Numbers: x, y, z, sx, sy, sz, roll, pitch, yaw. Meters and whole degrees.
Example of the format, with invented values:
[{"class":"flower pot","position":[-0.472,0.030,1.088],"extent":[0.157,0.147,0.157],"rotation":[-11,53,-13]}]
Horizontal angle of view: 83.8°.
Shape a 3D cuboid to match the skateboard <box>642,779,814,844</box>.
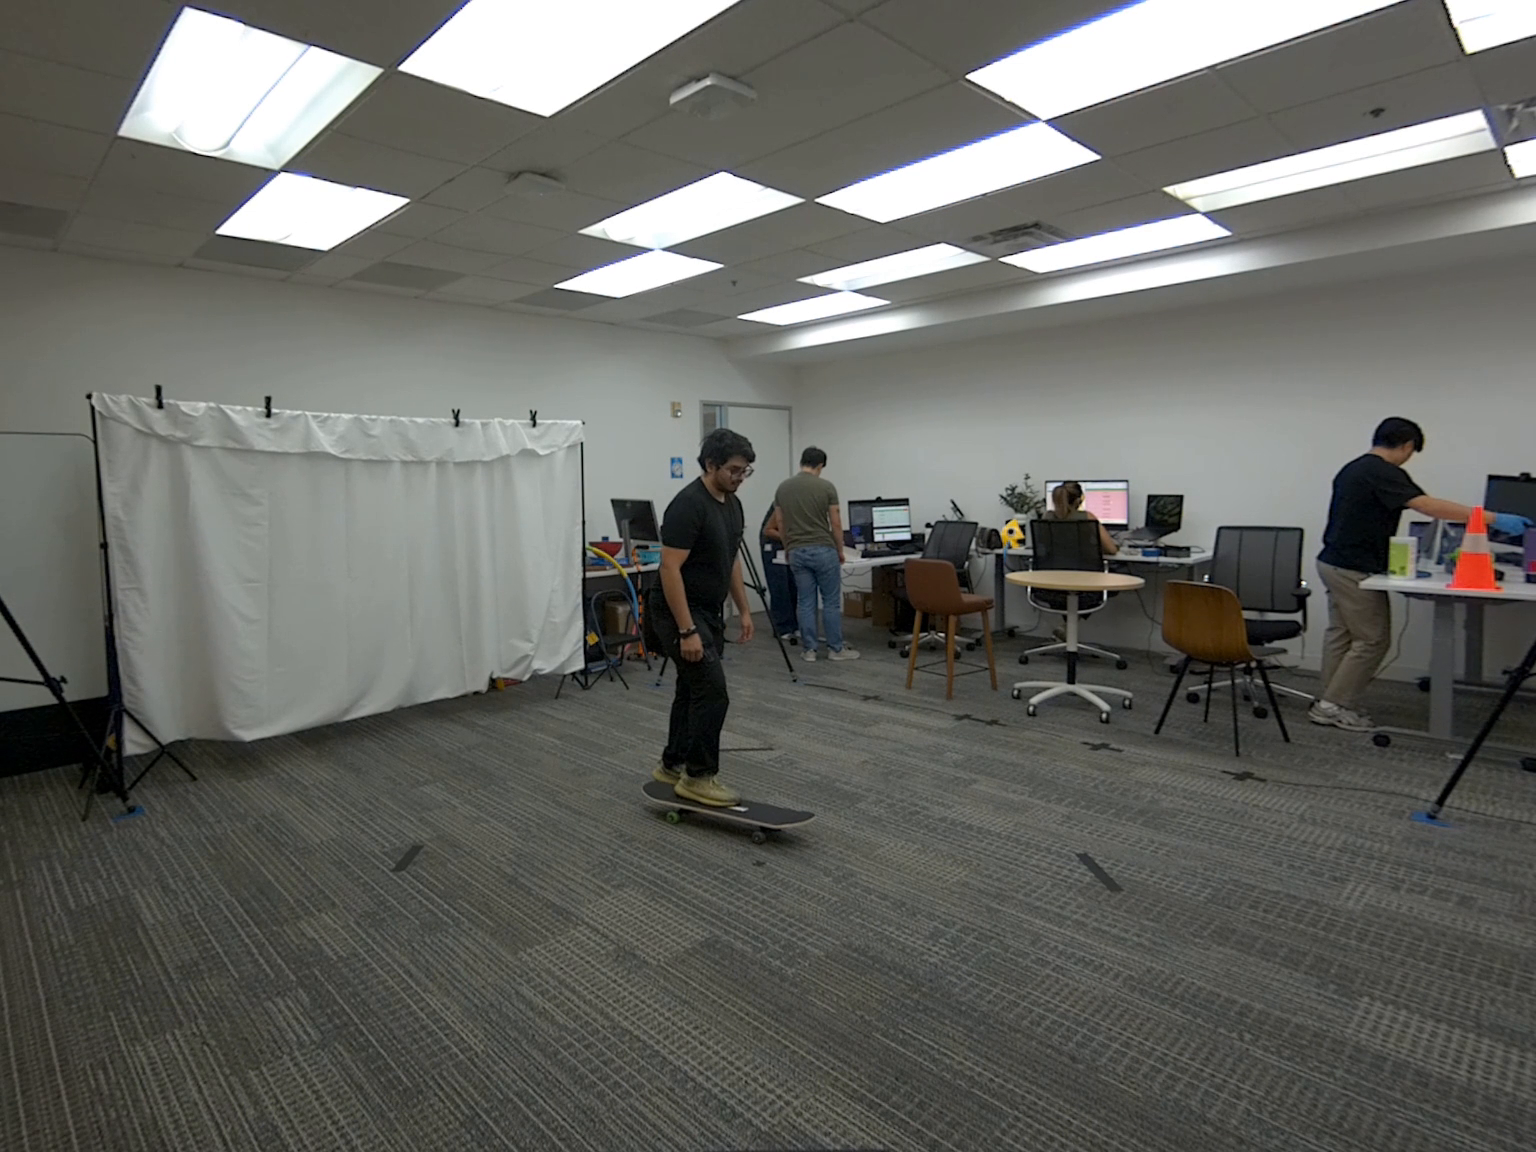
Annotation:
[{"class":"skateboard","position":[-0.174,0.959,3.457],"extent":[0.806,0.110,0.189],"rotation":[3,5,30]}]
